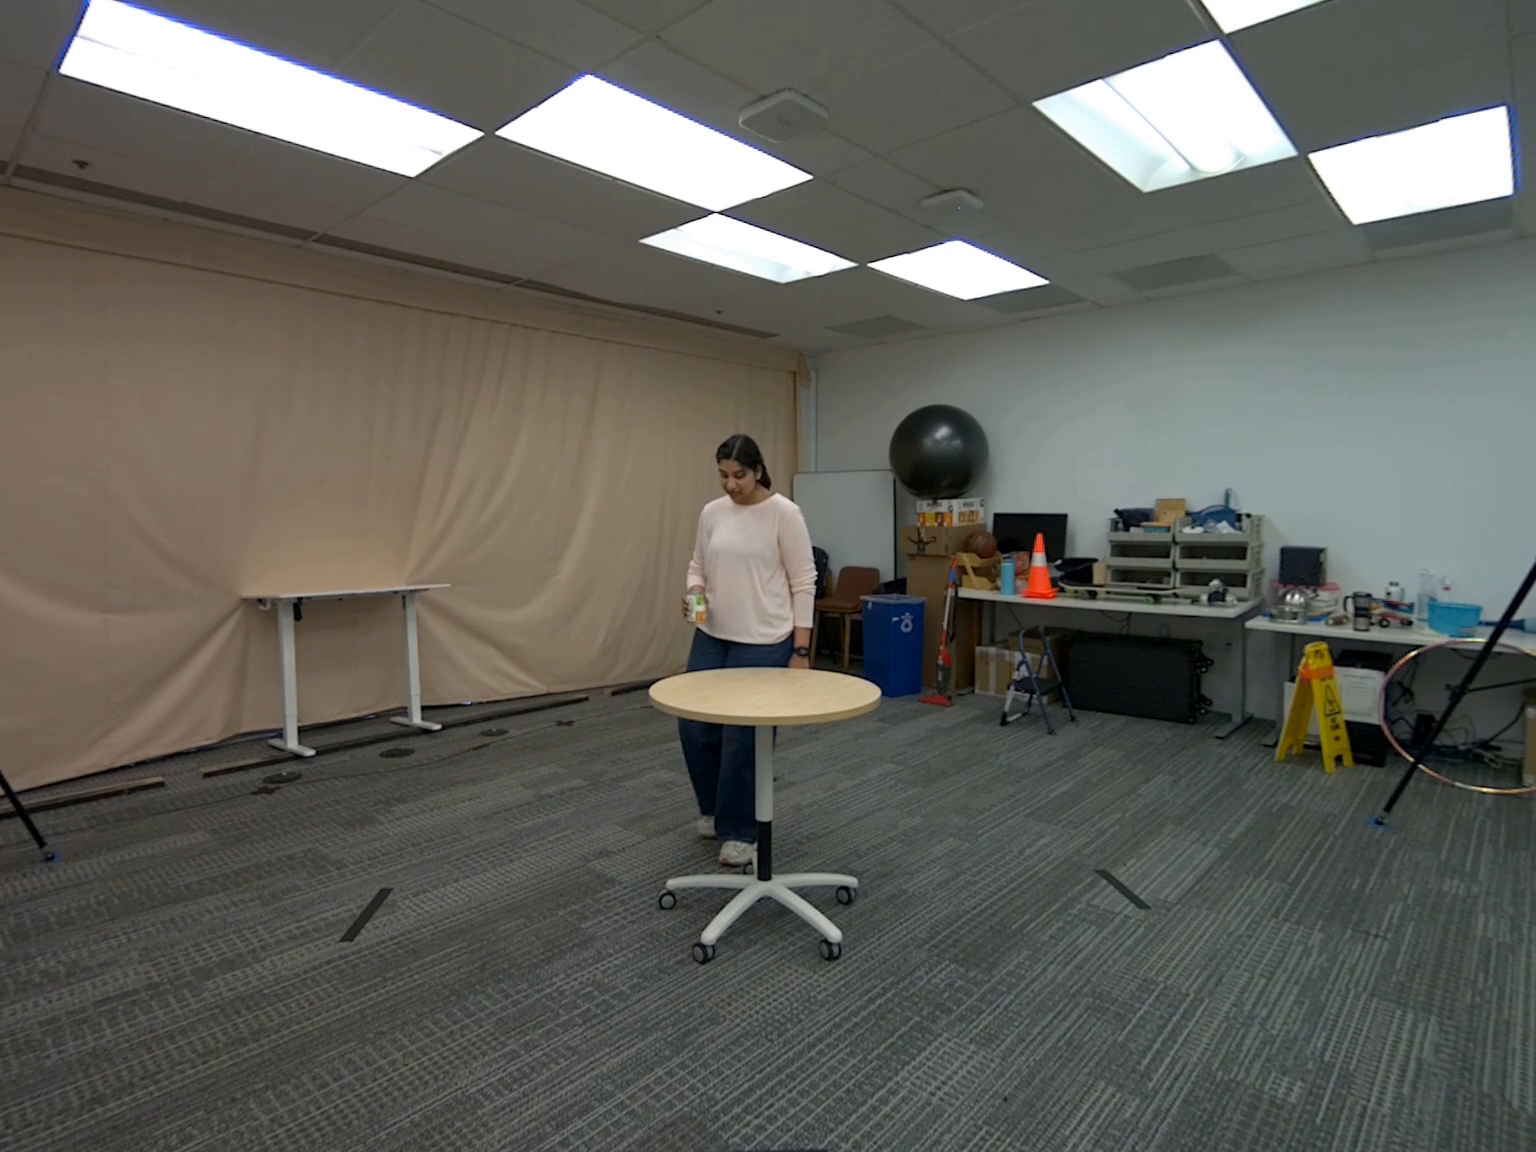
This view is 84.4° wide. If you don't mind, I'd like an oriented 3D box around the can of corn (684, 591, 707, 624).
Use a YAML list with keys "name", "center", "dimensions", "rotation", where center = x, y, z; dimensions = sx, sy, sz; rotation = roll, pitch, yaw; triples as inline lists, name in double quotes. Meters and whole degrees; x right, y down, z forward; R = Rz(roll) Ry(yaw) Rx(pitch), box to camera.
- name: "can of corn"
  center: [-0.270, 0.120, 3.190]
  dimensions: [0.074, 0.111, 0.074]
  rotation: [-1, -1, -2]
